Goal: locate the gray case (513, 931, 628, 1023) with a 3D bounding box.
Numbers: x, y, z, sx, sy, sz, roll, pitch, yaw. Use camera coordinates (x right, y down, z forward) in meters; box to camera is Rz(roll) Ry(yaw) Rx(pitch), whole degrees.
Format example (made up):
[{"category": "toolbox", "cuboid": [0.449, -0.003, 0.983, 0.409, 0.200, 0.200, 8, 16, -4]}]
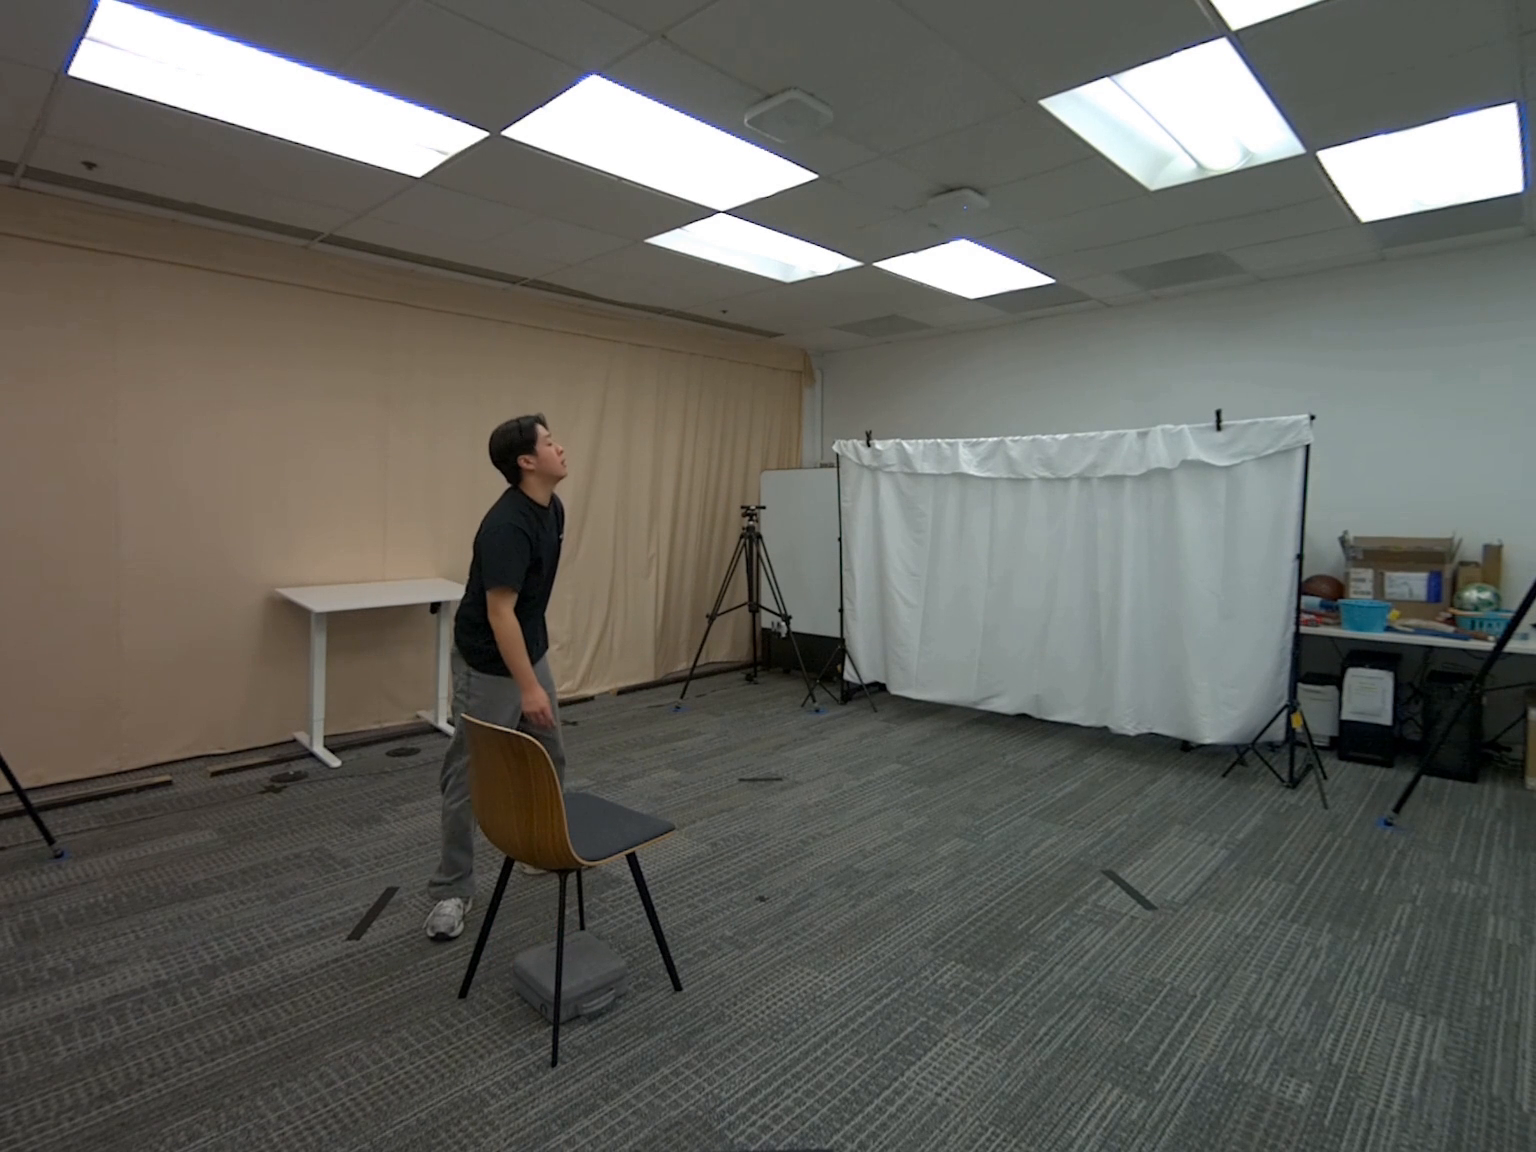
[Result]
[{"category": "gray case", "cuboid": [-0.552, 1.135, 2.398, 0.255, 0.103, 0.297, -5, 7, -41]}]
